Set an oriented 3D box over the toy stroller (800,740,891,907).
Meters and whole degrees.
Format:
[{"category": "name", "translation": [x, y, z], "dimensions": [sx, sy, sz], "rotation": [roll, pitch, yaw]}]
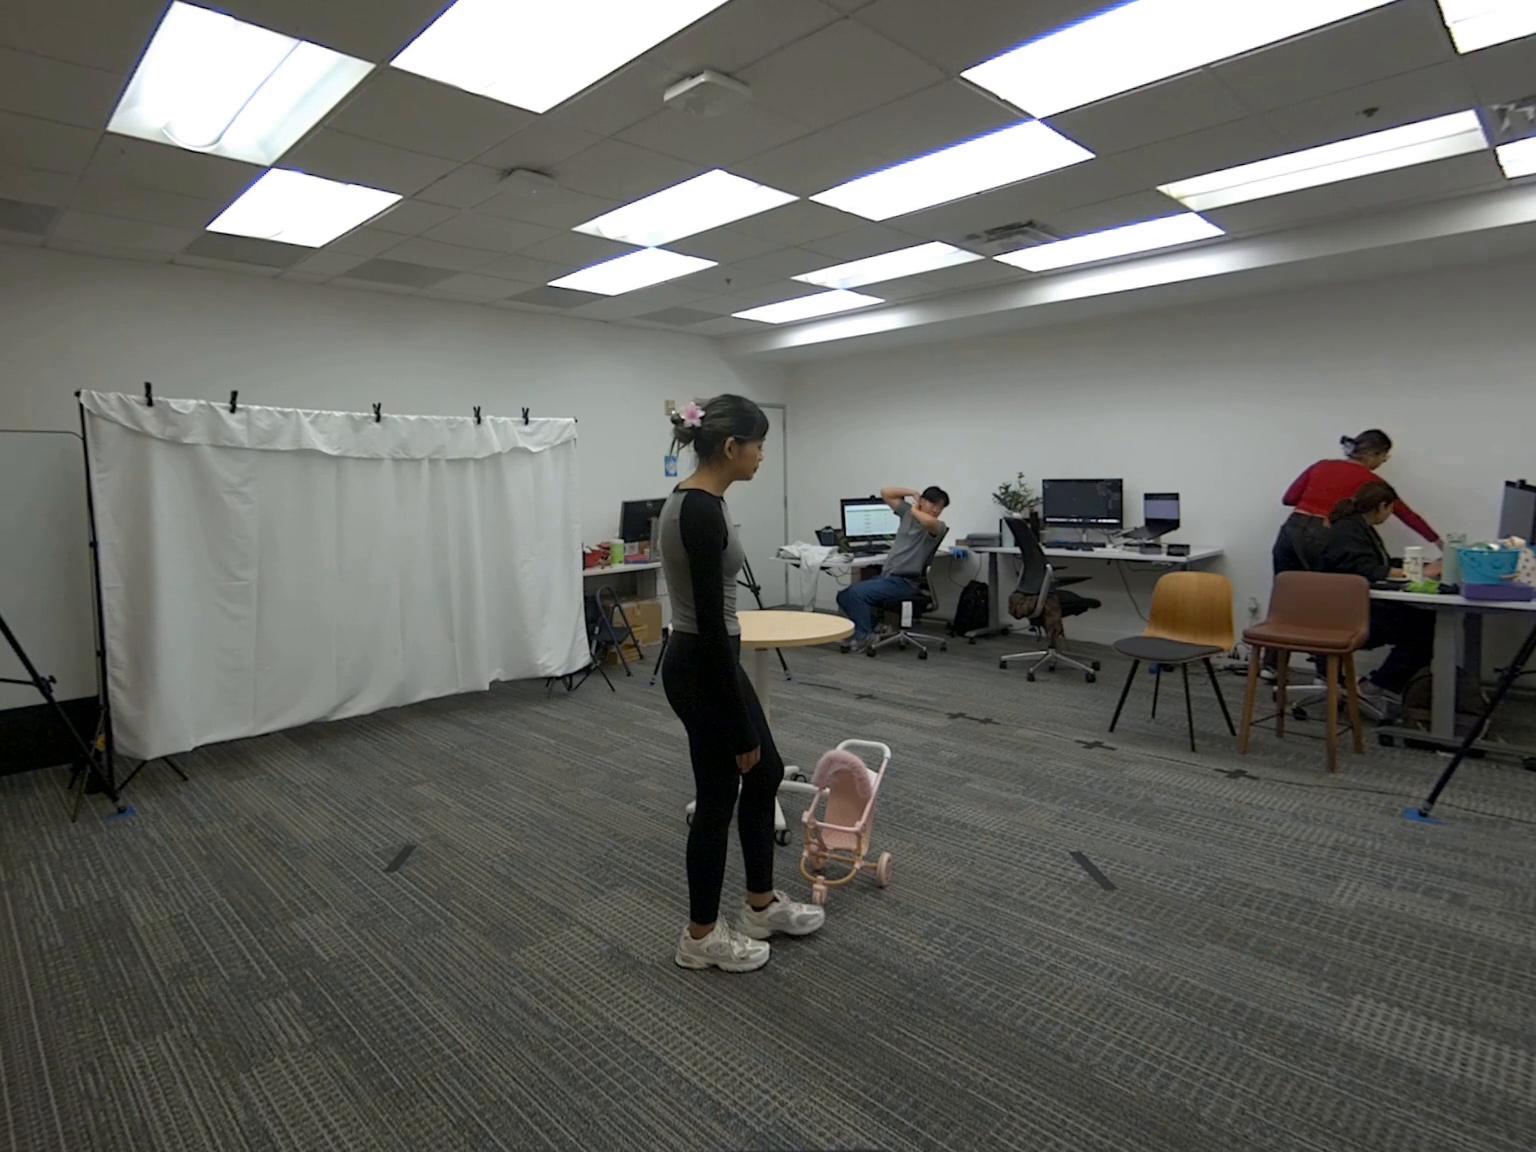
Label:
[{"category": "toy stroller", "translation": [0.254, 0.833, 2.916], "dimensions": [0.289, 0.539, 0.329], "rotation": [0, -11, 34]}]
